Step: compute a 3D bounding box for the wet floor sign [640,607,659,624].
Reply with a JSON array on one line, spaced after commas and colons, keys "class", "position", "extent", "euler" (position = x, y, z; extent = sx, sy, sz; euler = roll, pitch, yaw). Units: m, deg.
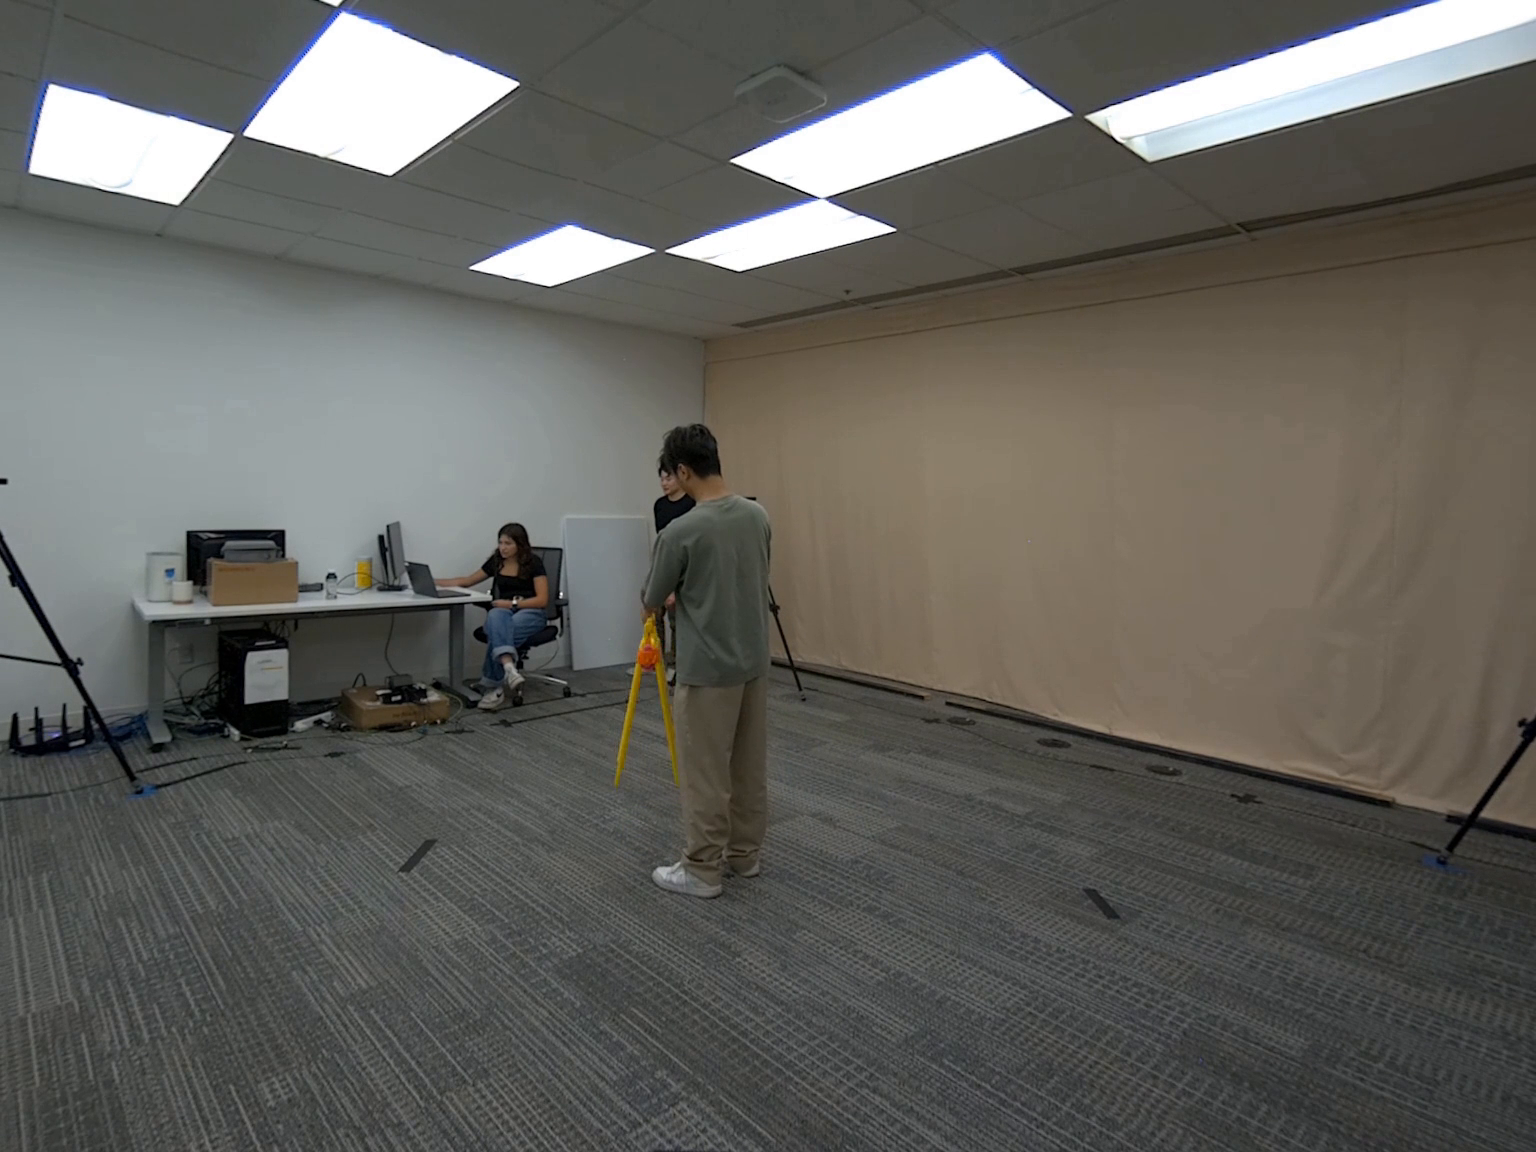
[{"class": "wet floor sign", "position": [-0.475, 0.481, 3.353], "extent": [0.289, 0.644, 0.284], "euler": [2, 5, -3]}]
